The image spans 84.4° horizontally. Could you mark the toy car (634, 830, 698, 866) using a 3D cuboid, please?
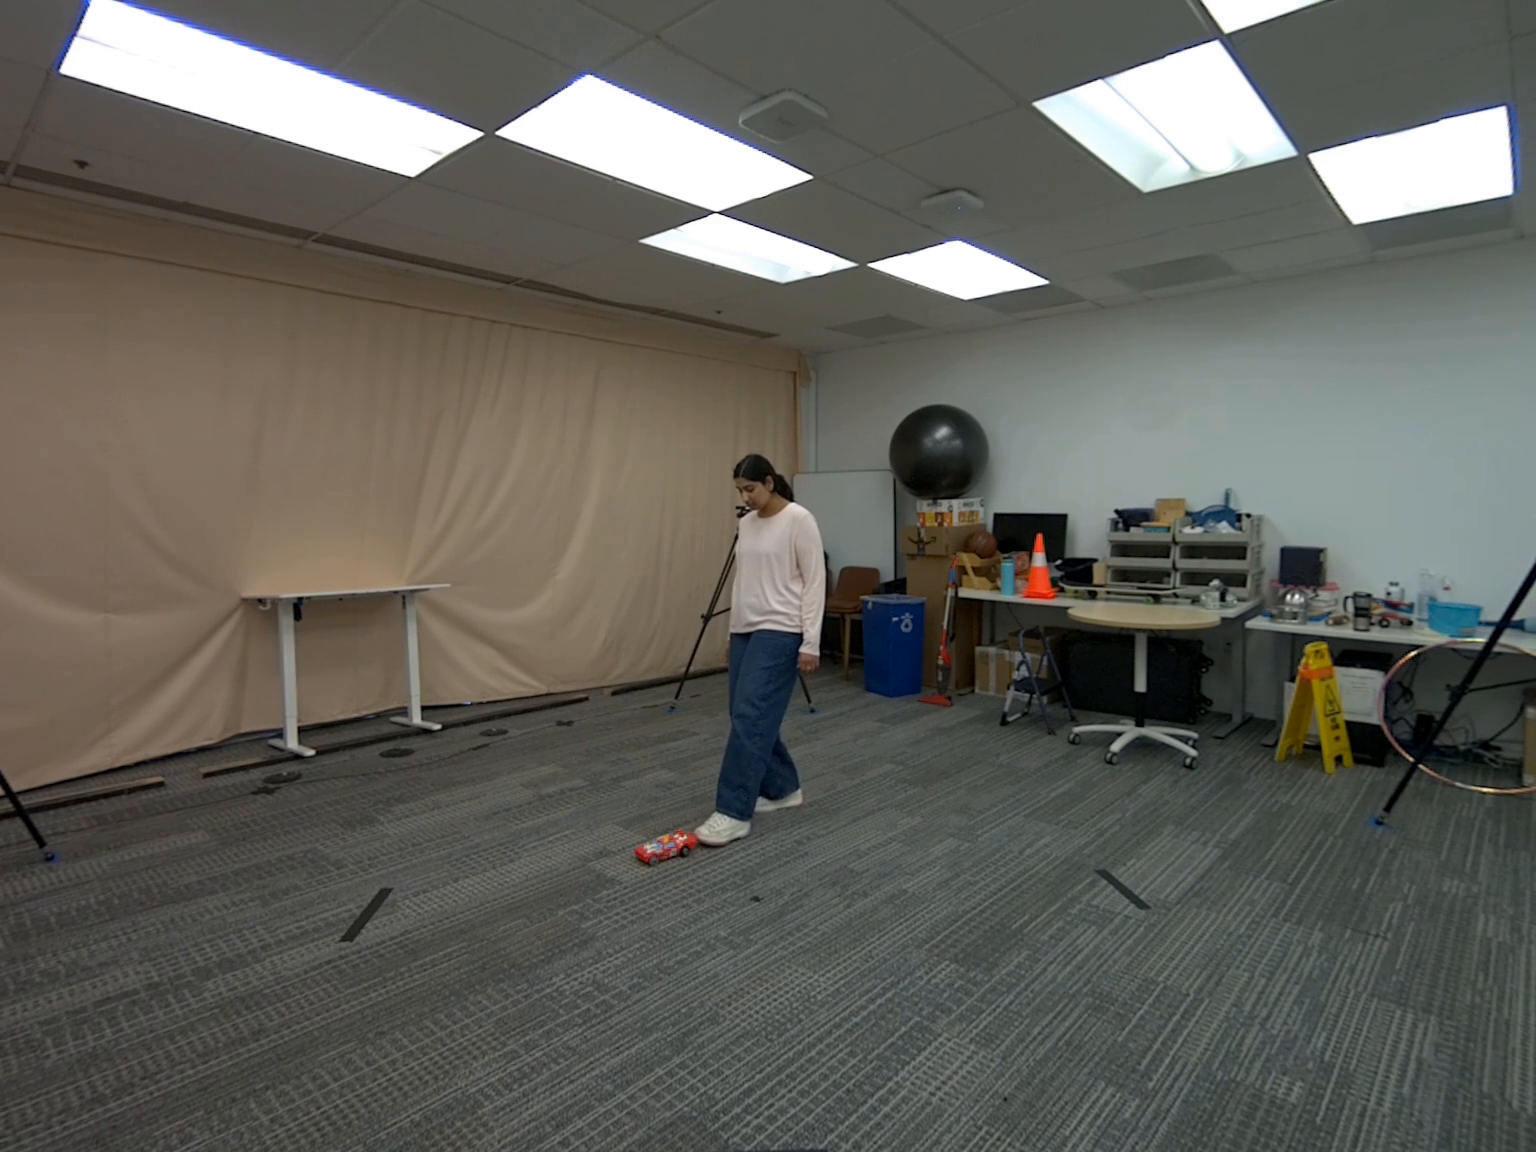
[{"bbox_3d":[-0.404,1.085,3.361,0.249,0.082,0.134,-18,13,-33],"label":"toy car"}]
